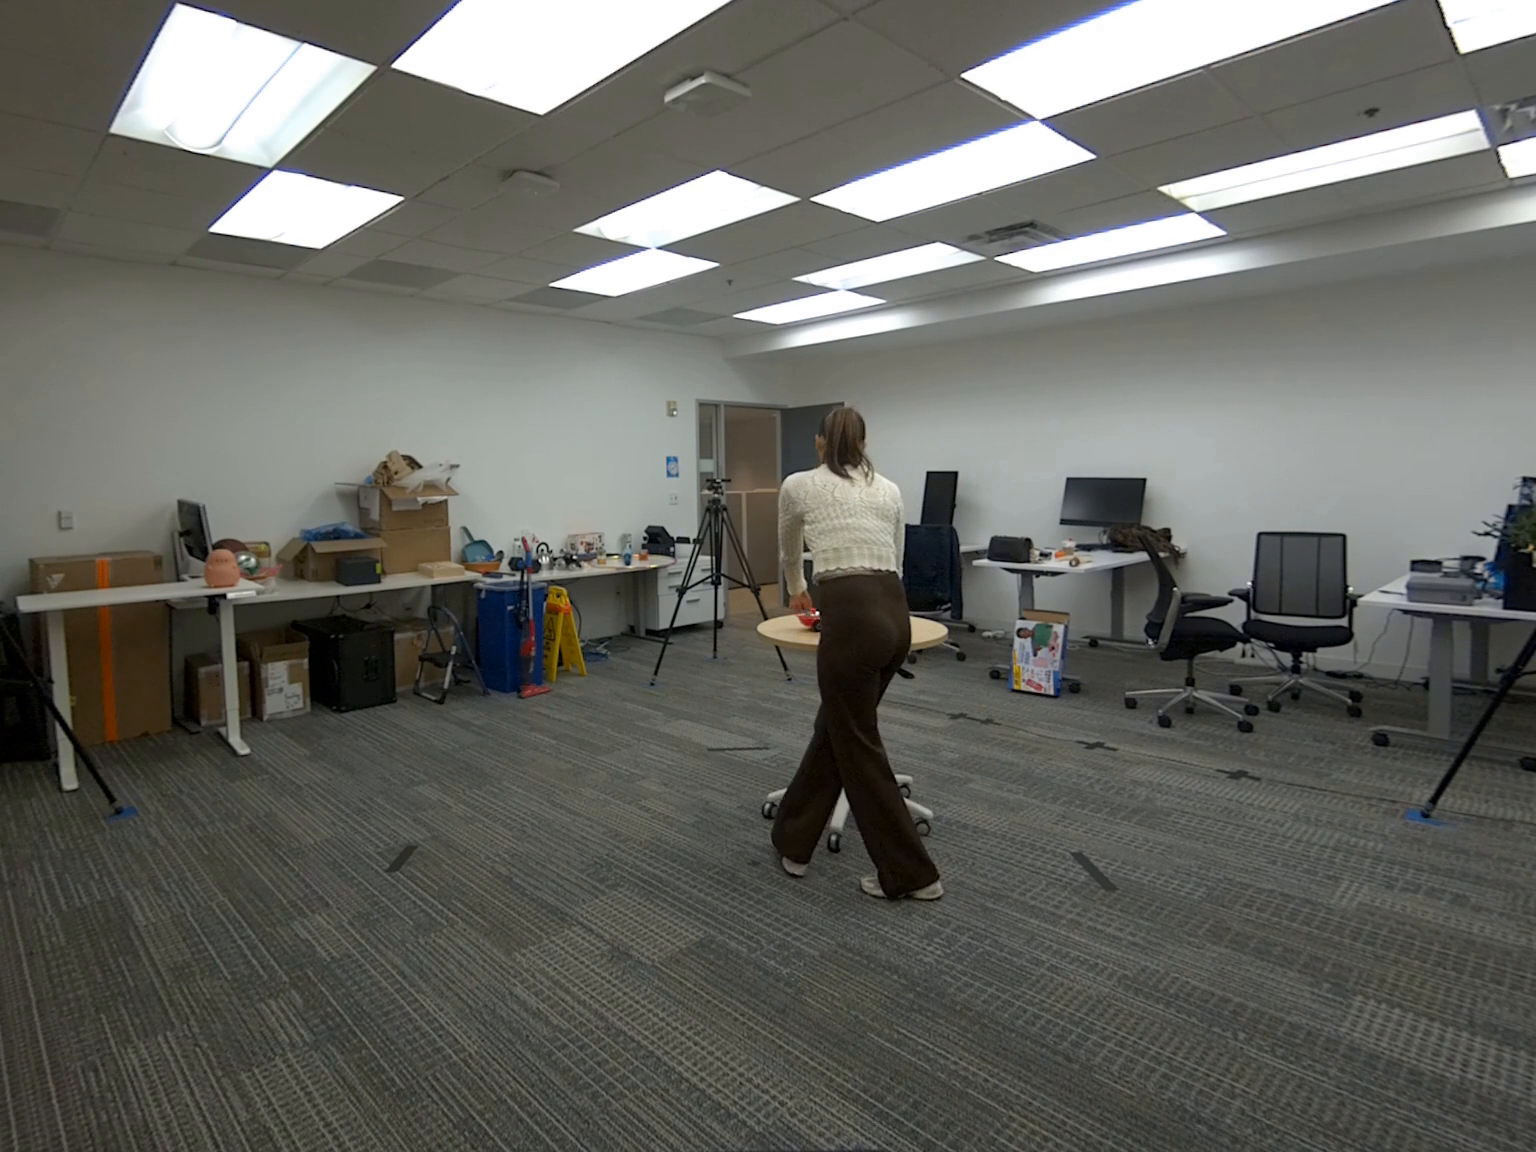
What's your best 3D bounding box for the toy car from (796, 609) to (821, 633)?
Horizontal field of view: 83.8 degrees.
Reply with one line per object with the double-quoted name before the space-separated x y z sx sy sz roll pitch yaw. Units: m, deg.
"toy car" 0.245 0.181 3.453 0.252 0.083 0.132 10 3 -9
